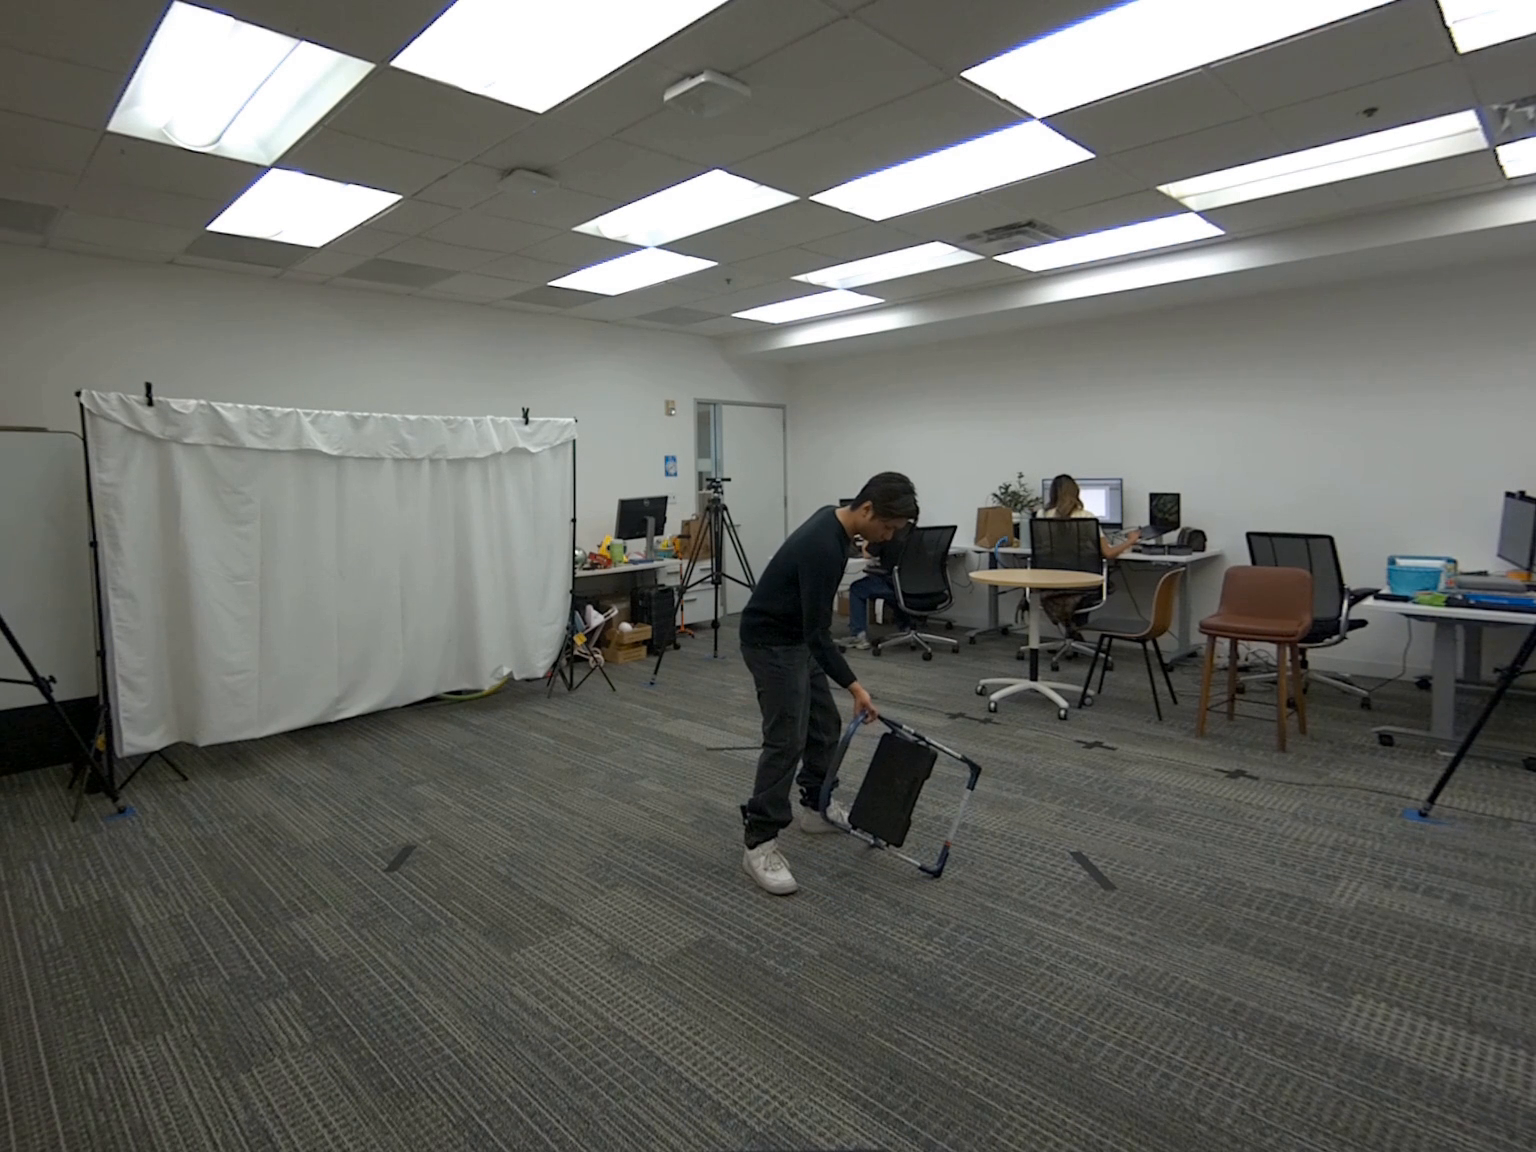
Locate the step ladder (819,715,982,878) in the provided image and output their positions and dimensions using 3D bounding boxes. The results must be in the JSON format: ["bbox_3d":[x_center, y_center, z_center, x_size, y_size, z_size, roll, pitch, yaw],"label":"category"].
[{"bbox_3d":[0.383,0.712,2.992,0.585,0.433,0.360,33,-15,-33],"label":"step ladder"}]
